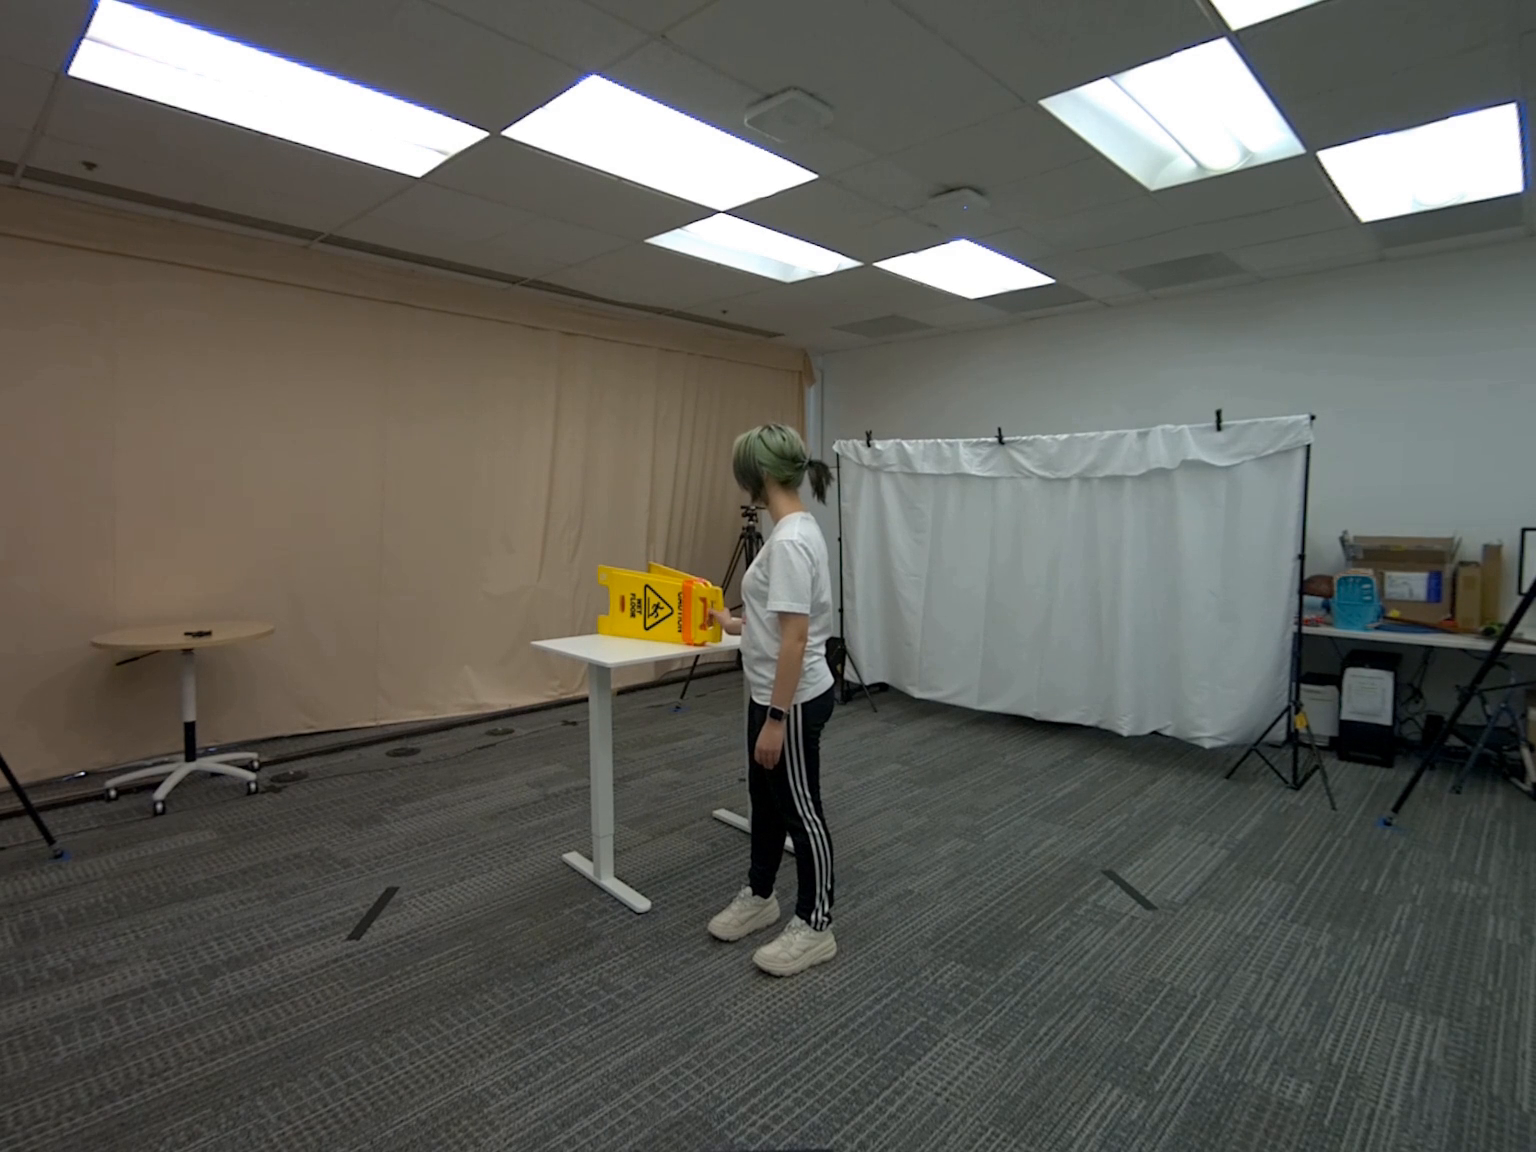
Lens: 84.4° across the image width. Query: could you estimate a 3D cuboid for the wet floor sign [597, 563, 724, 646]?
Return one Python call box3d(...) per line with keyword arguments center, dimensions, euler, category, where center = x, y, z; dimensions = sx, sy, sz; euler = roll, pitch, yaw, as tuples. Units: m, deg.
box3d(center=(-0.378, 0.117, 3.235), dimensions=(0.281, 0.281, 0.668), euler=(-4, 7, -40), category="wet floor sign")
